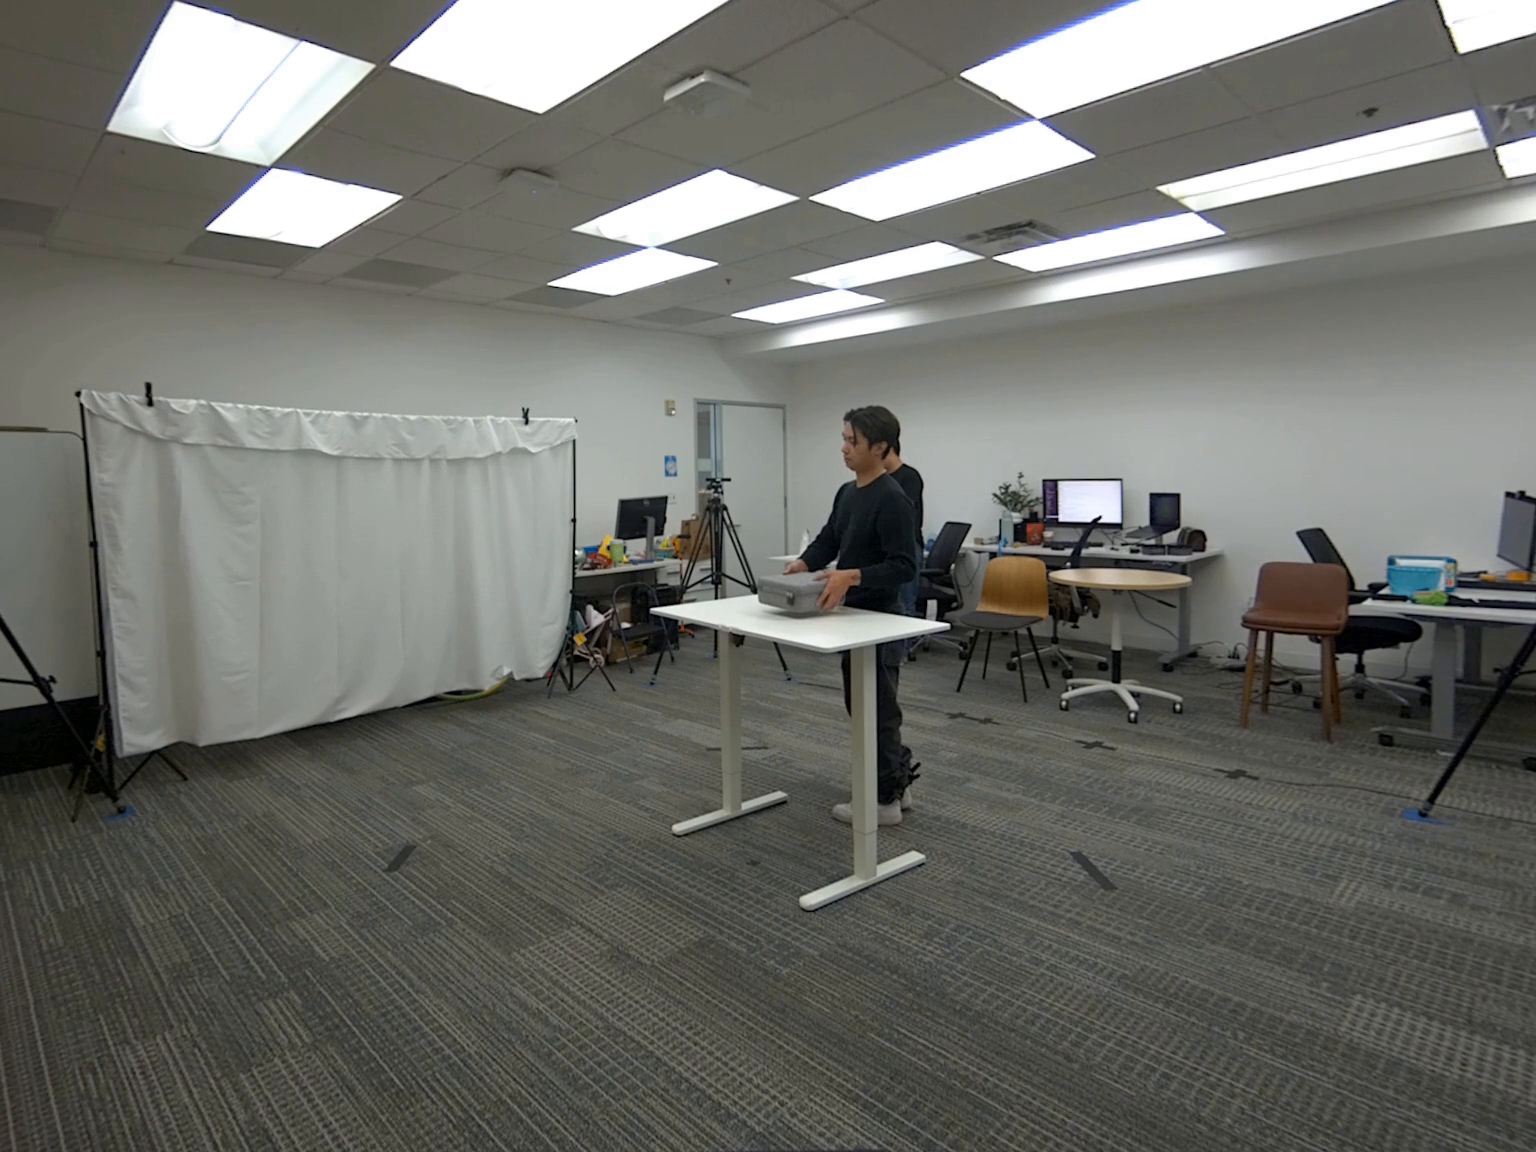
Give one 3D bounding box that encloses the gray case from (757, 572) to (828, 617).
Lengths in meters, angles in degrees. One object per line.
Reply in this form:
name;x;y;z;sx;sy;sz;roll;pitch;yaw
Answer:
gray case;0.130;0.060;3.219;0.254;0.103;0.265;-6;10;-37
